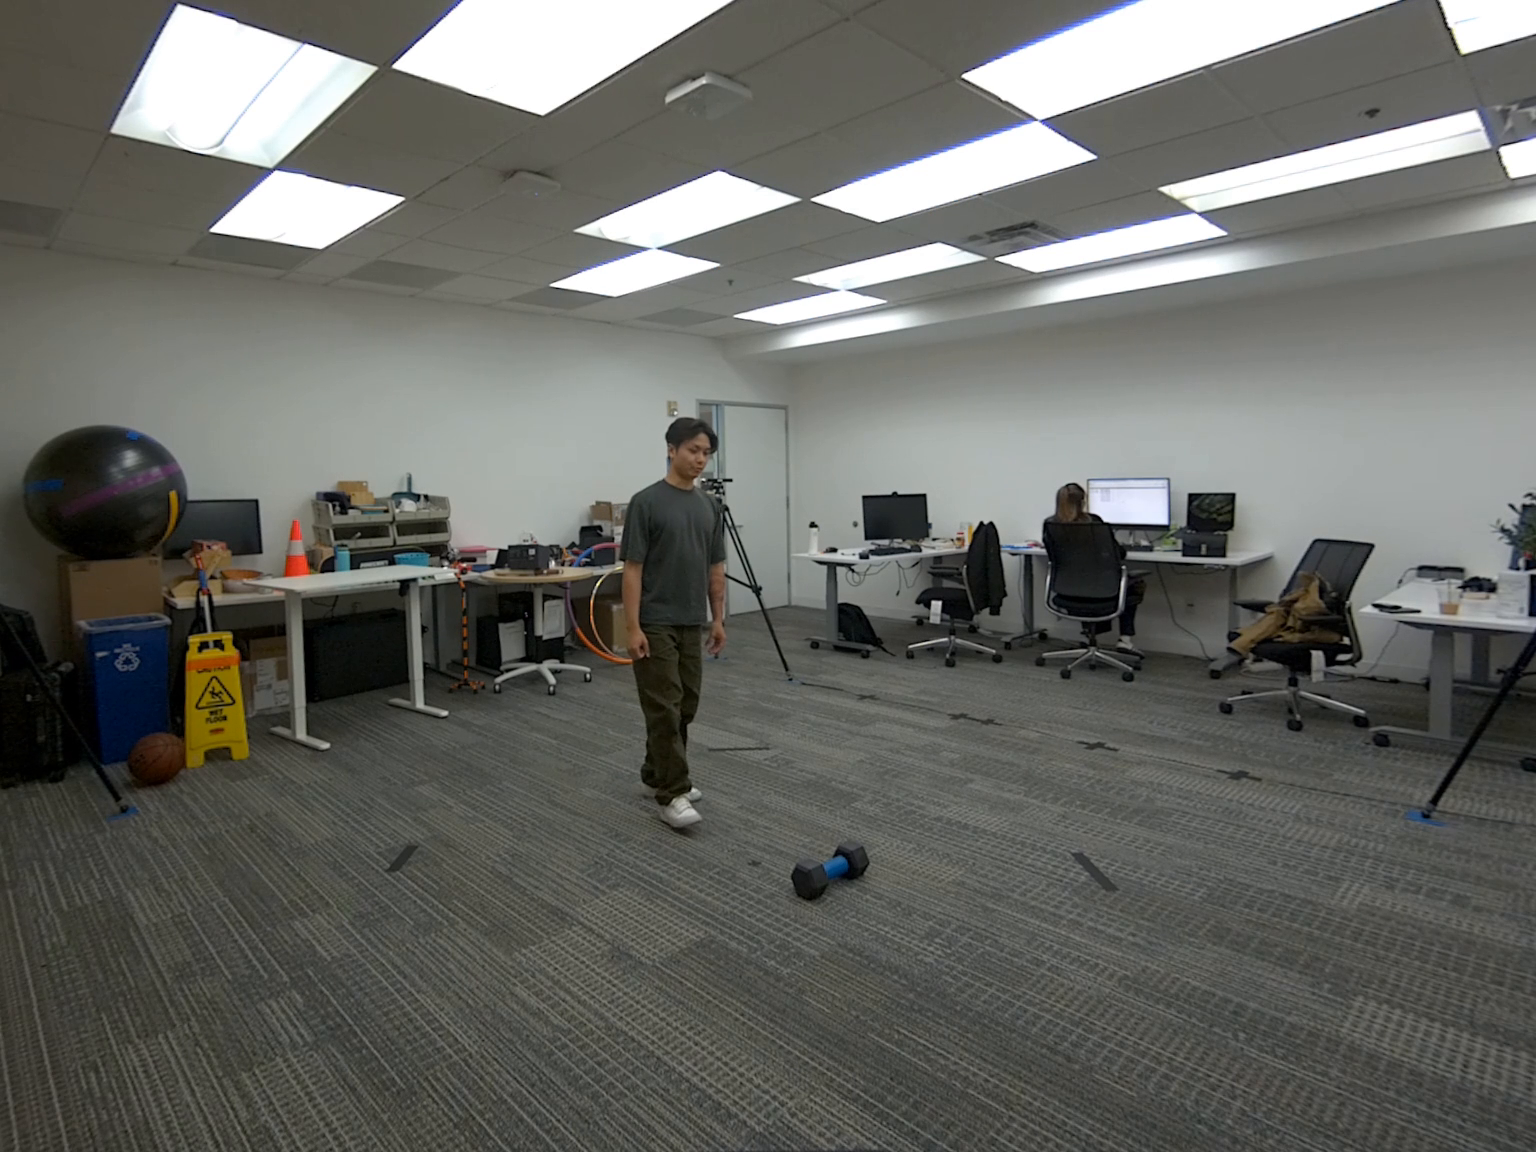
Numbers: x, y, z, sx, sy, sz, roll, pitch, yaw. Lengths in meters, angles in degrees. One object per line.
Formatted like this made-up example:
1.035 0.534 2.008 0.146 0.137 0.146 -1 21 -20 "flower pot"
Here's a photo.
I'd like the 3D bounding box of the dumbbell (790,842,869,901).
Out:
0.220 1.005 2.928 0.286 0.121 0.113 -7 38 -42 "dumbbell"
